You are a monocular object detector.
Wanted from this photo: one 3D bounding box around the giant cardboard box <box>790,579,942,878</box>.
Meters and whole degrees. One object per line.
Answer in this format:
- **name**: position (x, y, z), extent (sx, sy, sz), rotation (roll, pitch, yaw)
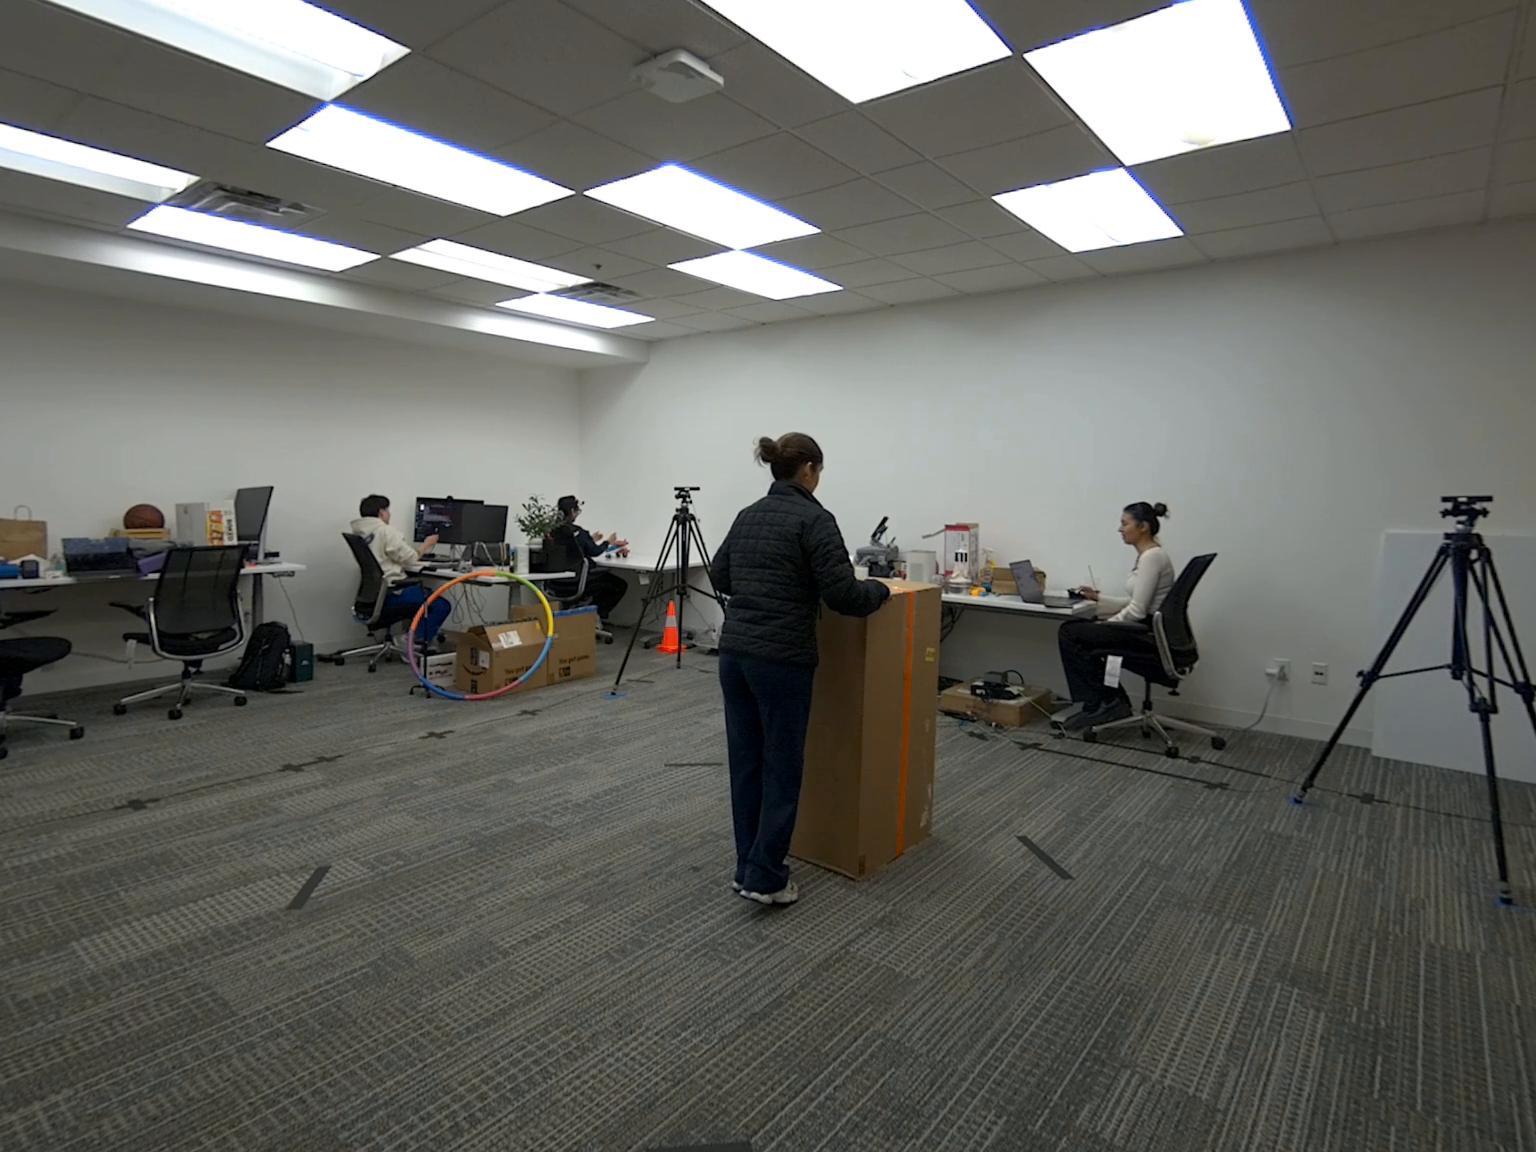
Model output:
- **giant cardboard box**: position (0.367, 0.543, 3.363), extent (0.462, 1.023, 0.566), rotation (5, 6, 41)
